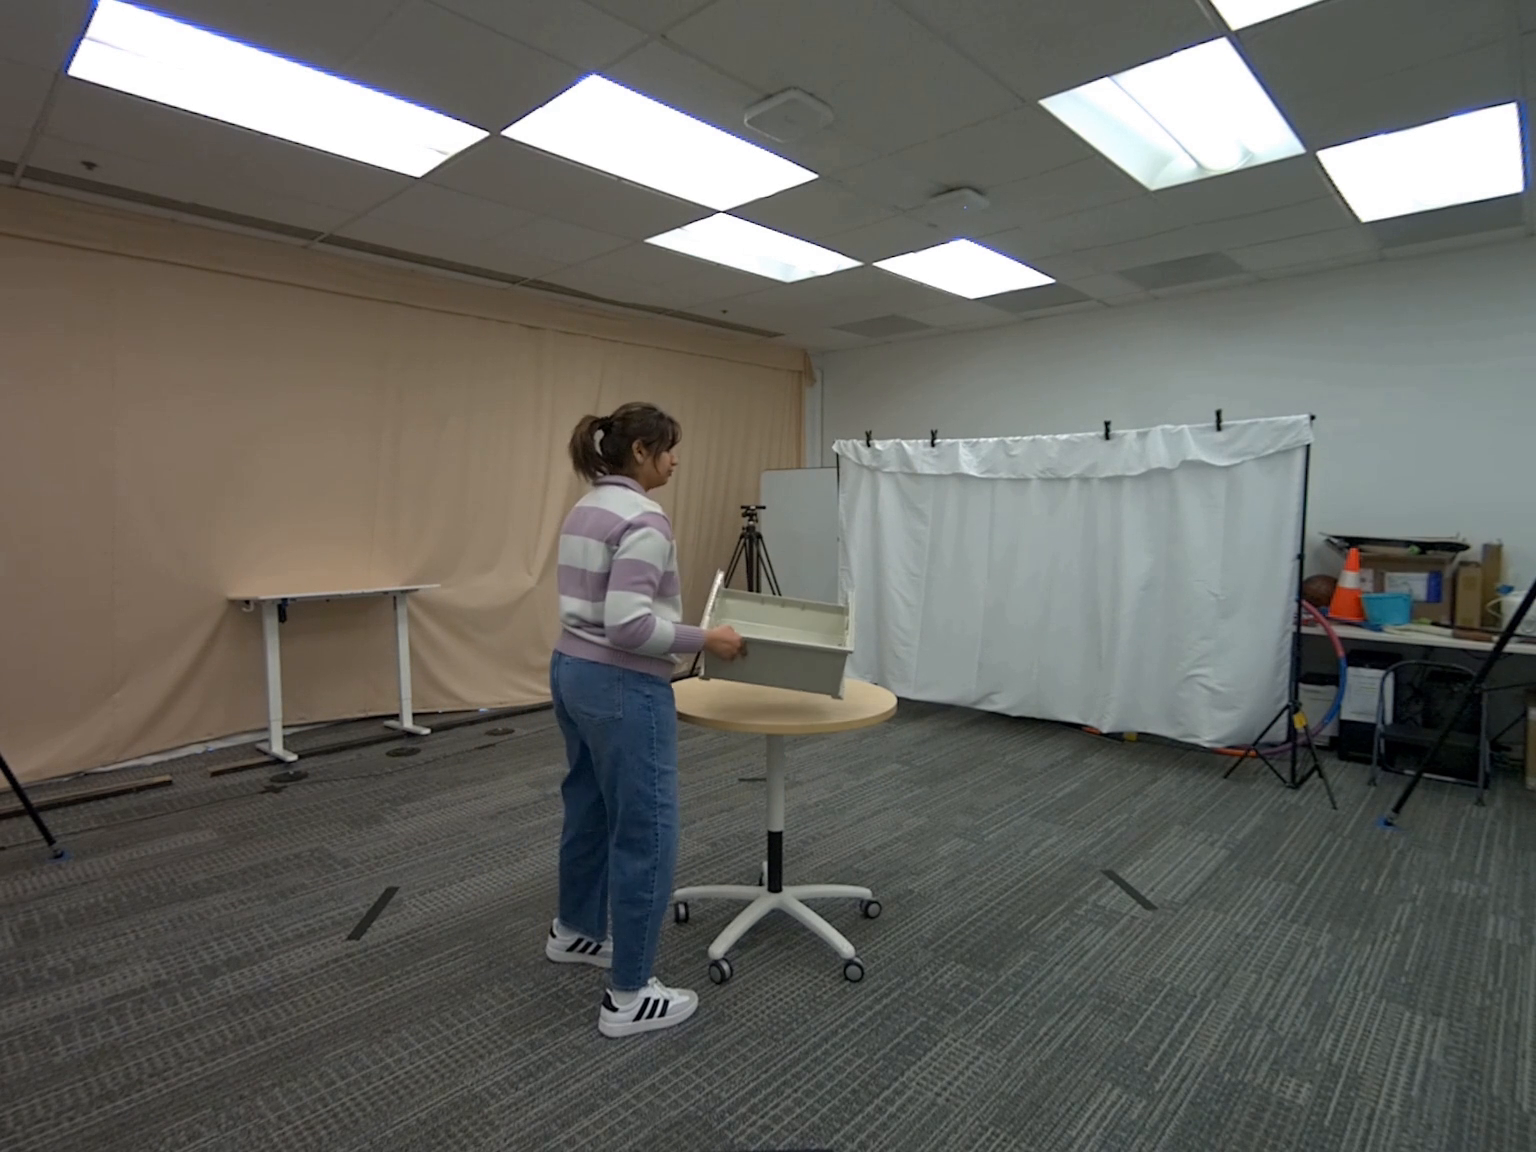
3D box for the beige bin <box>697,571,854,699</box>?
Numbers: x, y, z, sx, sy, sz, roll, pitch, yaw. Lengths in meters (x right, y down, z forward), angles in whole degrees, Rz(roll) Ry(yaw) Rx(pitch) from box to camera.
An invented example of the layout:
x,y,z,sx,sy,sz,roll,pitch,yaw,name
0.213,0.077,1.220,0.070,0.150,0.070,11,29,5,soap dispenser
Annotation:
x,y,z,sx,sy,sz,roll,pitch,yaw,name
0.029,0.163,2.470,0.425,0.186,0.380,8,31,4,beige bin
